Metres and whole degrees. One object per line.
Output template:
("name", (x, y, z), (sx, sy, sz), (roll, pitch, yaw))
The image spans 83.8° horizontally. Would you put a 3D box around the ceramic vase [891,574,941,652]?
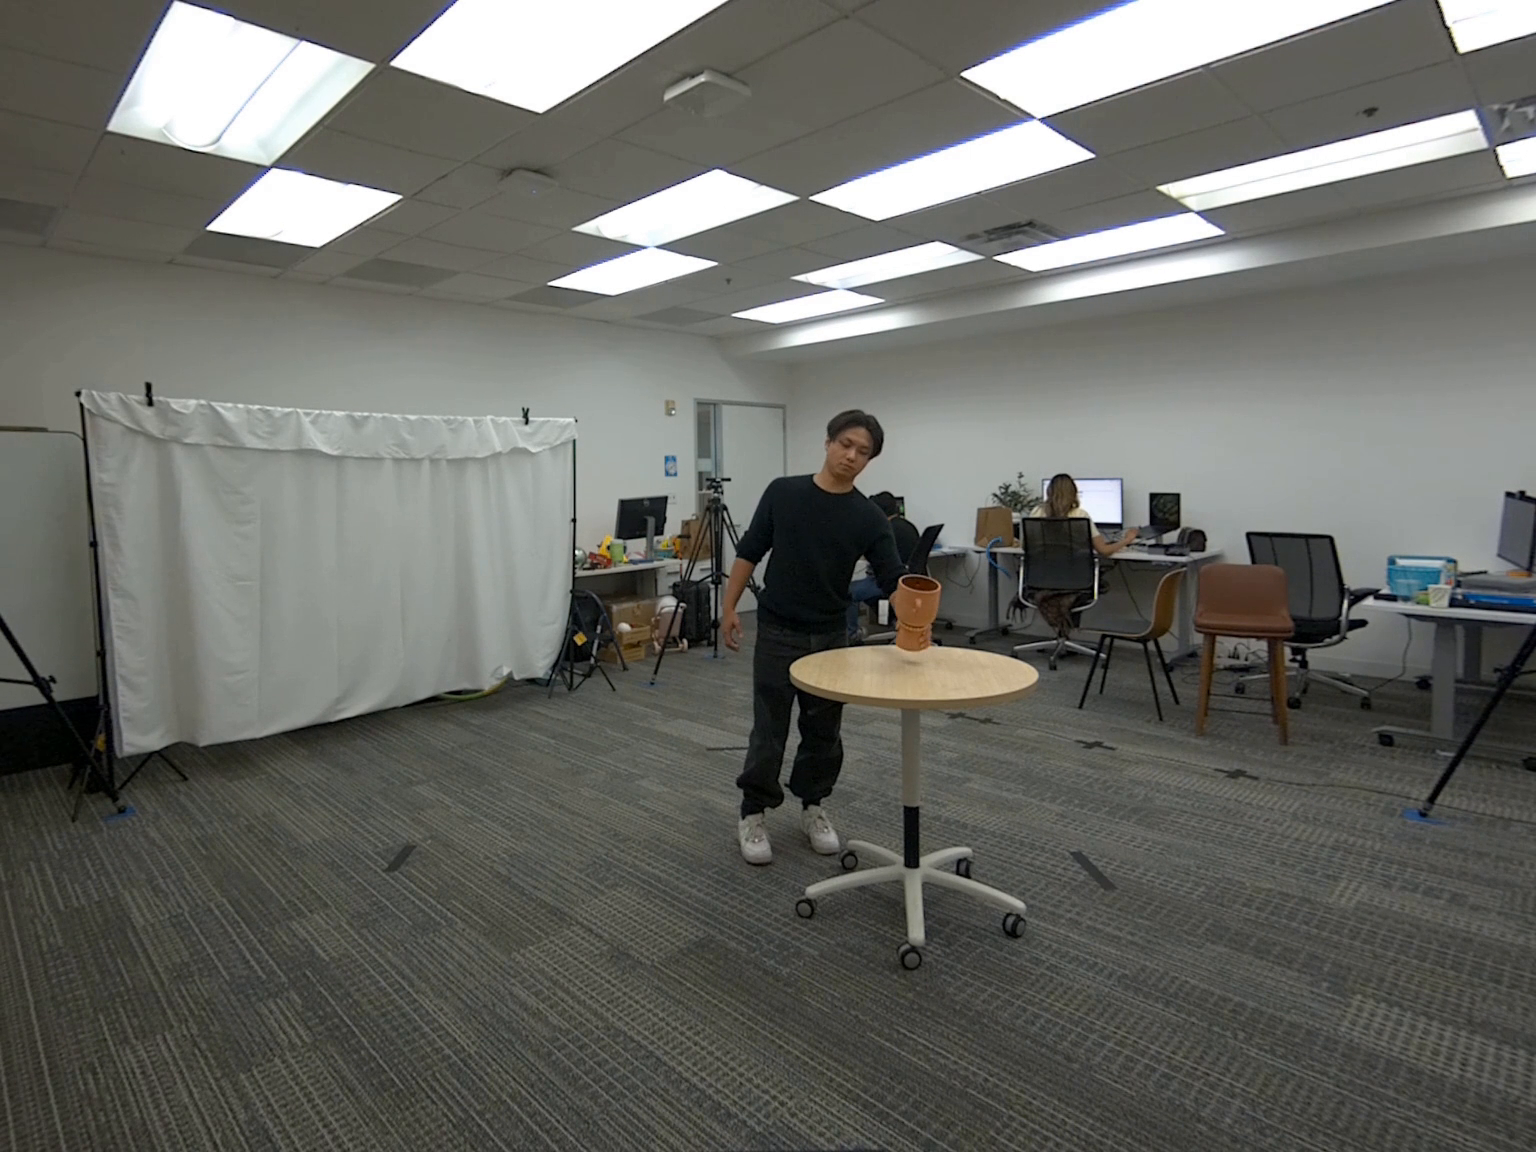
("ceramic vase", (0.478, 0.121, 2.743), (0.155, 0.216, 0.140), (-14, 28, -37))
